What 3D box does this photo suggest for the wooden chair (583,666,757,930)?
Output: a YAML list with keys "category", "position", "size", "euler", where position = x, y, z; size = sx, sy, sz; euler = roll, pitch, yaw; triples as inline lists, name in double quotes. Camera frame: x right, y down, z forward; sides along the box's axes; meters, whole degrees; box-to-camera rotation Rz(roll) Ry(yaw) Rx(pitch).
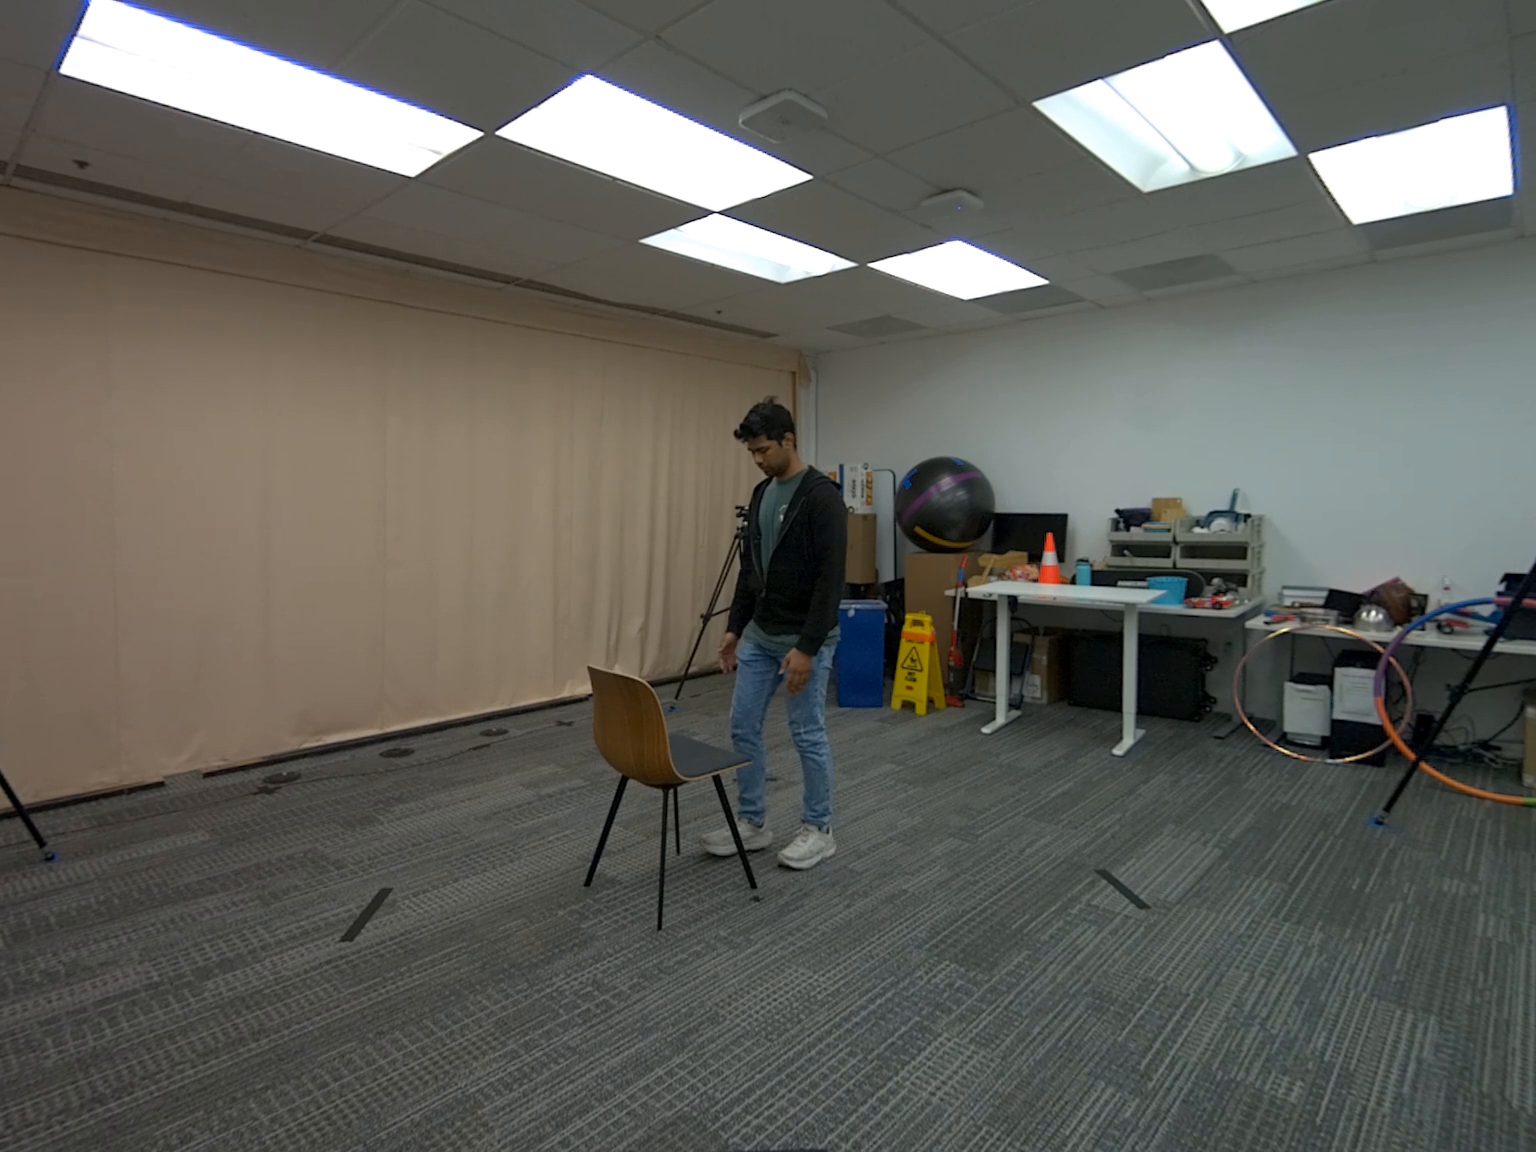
- category: "wooden chair"
  position: [-0.354, 0.717, 3.049]
  size: [0.508, 0.874, 0.494]
  euler: [-9, 8, -43]
